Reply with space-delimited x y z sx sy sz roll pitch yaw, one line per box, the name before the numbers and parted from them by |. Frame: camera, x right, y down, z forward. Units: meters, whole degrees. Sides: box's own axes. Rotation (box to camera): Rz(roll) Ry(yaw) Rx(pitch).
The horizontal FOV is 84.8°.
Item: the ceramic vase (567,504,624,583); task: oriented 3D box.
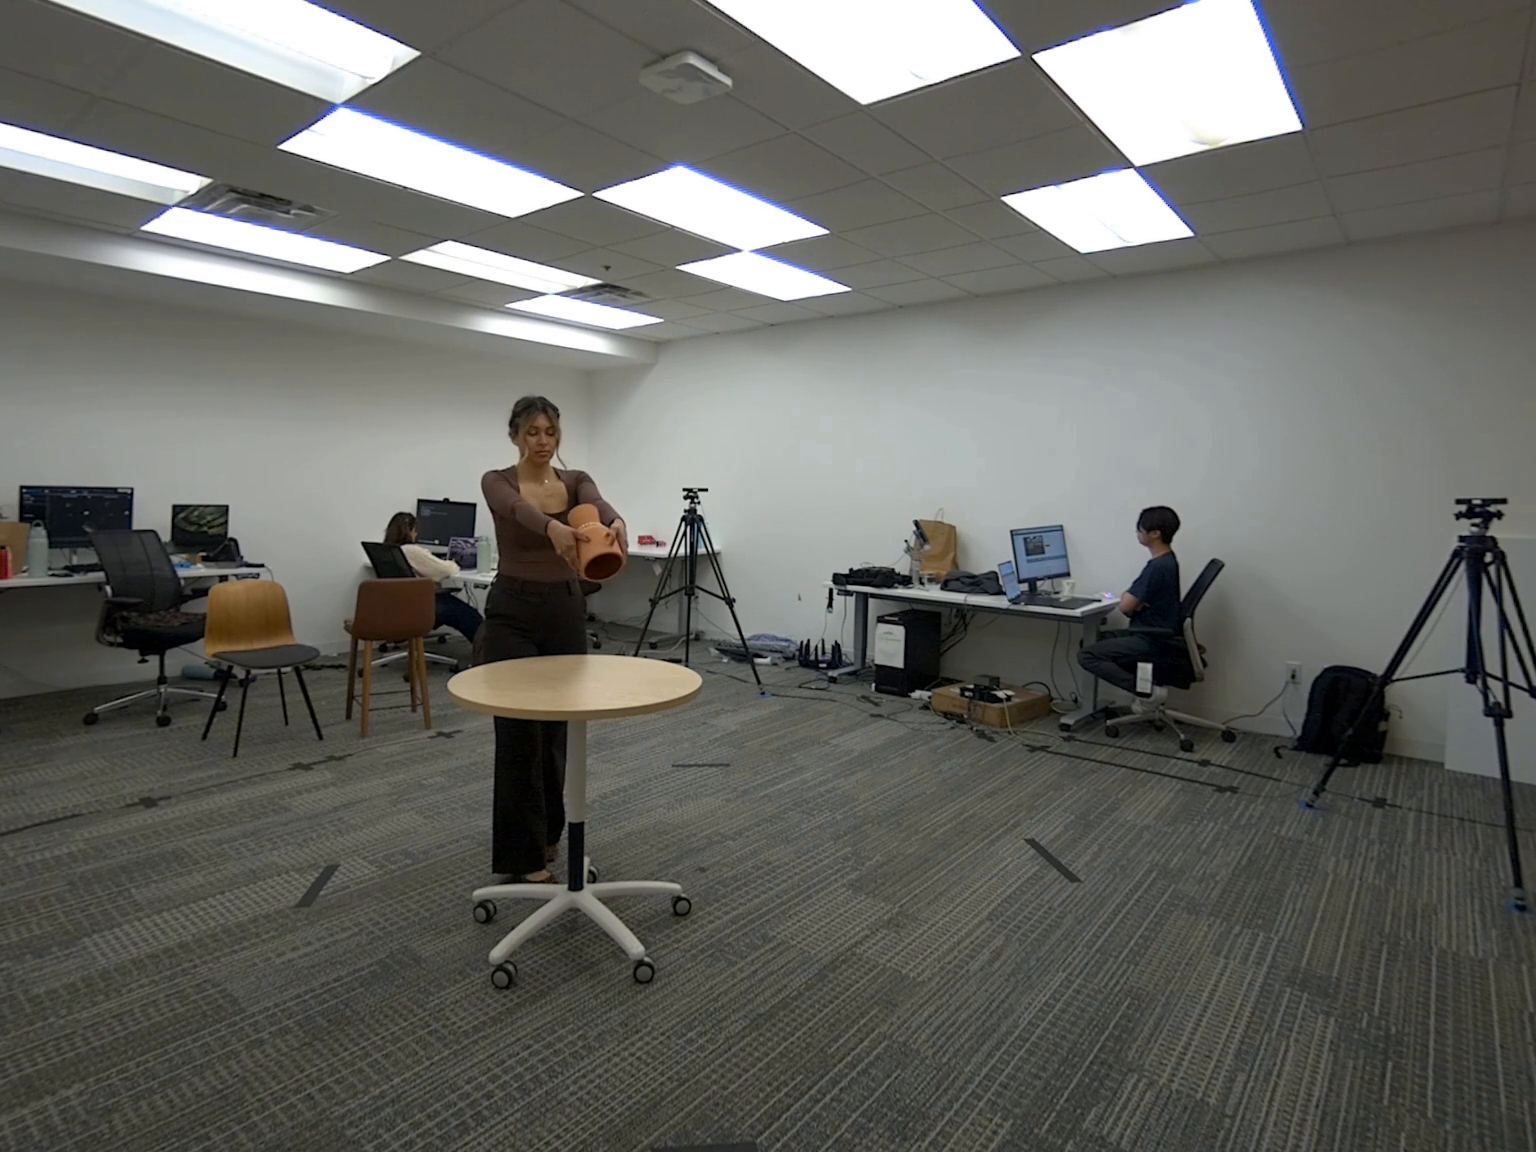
ceramic vase | -0.545 -0.110 2.590 0.158 0.228 0.130 -25 -33 -5
